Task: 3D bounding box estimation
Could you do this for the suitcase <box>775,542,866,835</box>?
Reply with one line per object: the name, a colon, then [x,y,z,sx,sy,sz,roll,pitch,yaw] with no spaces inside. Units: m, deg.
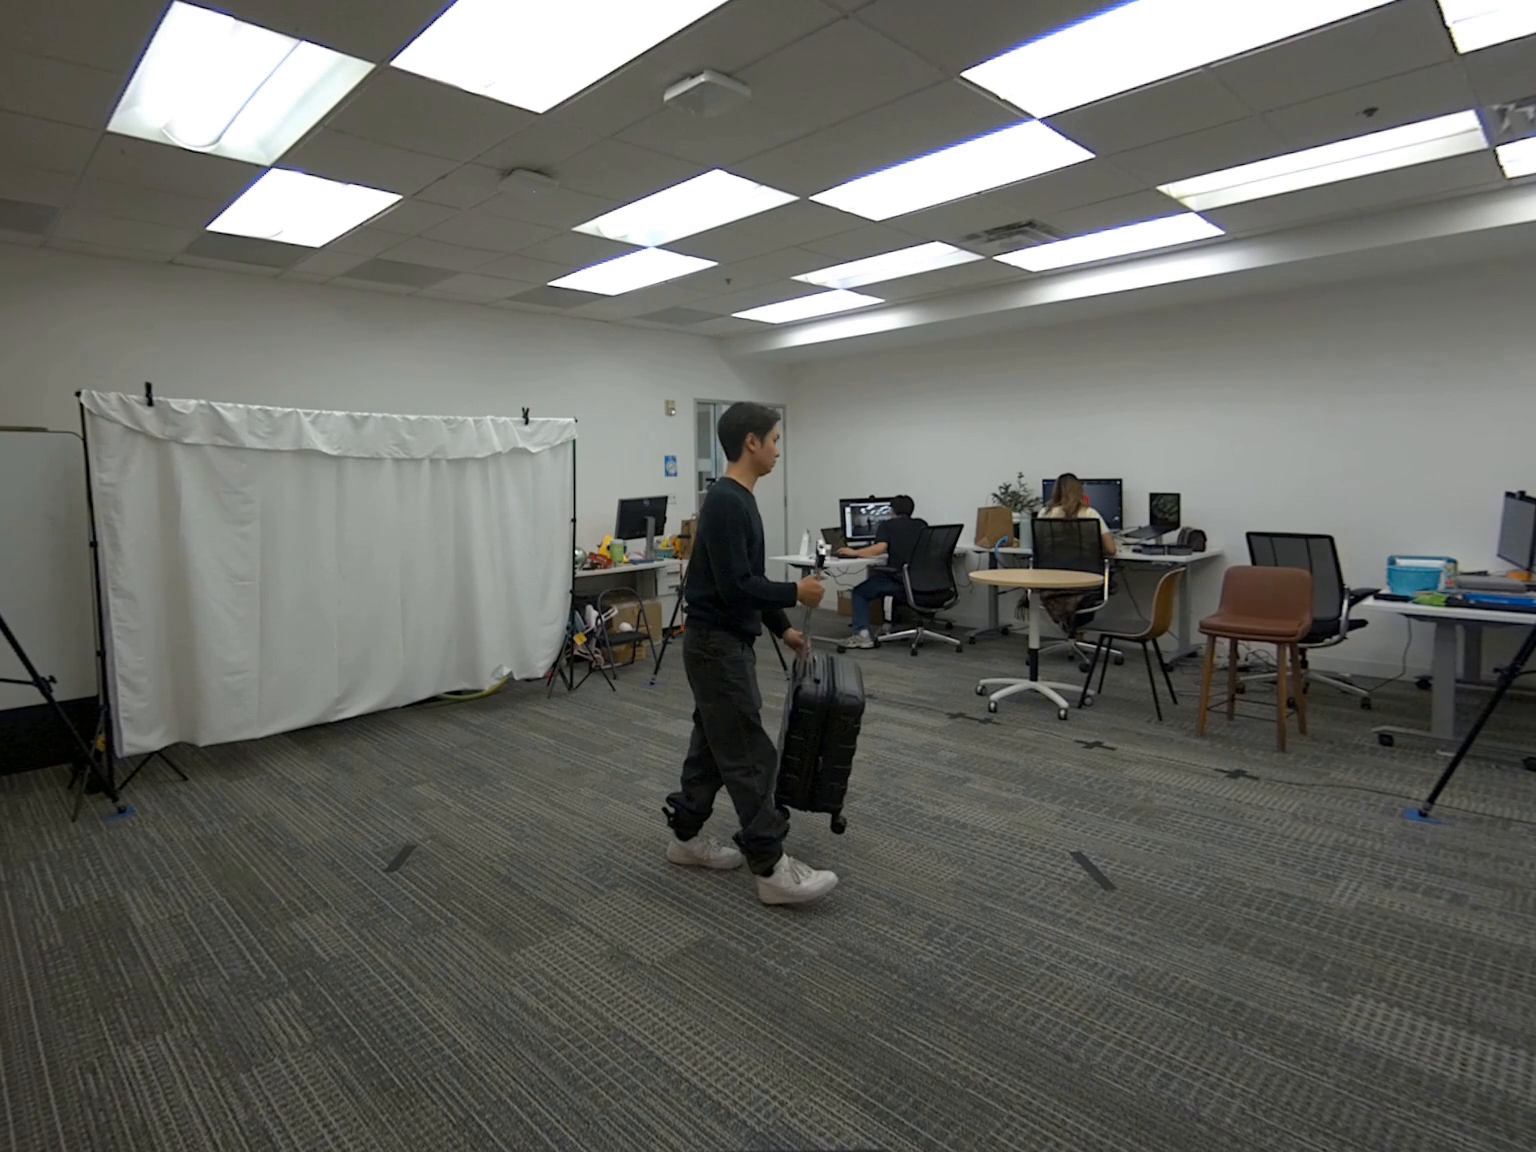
suitcase: [0.212,0.384,3.036,0.258,0.967,0.387,10,17,2]
